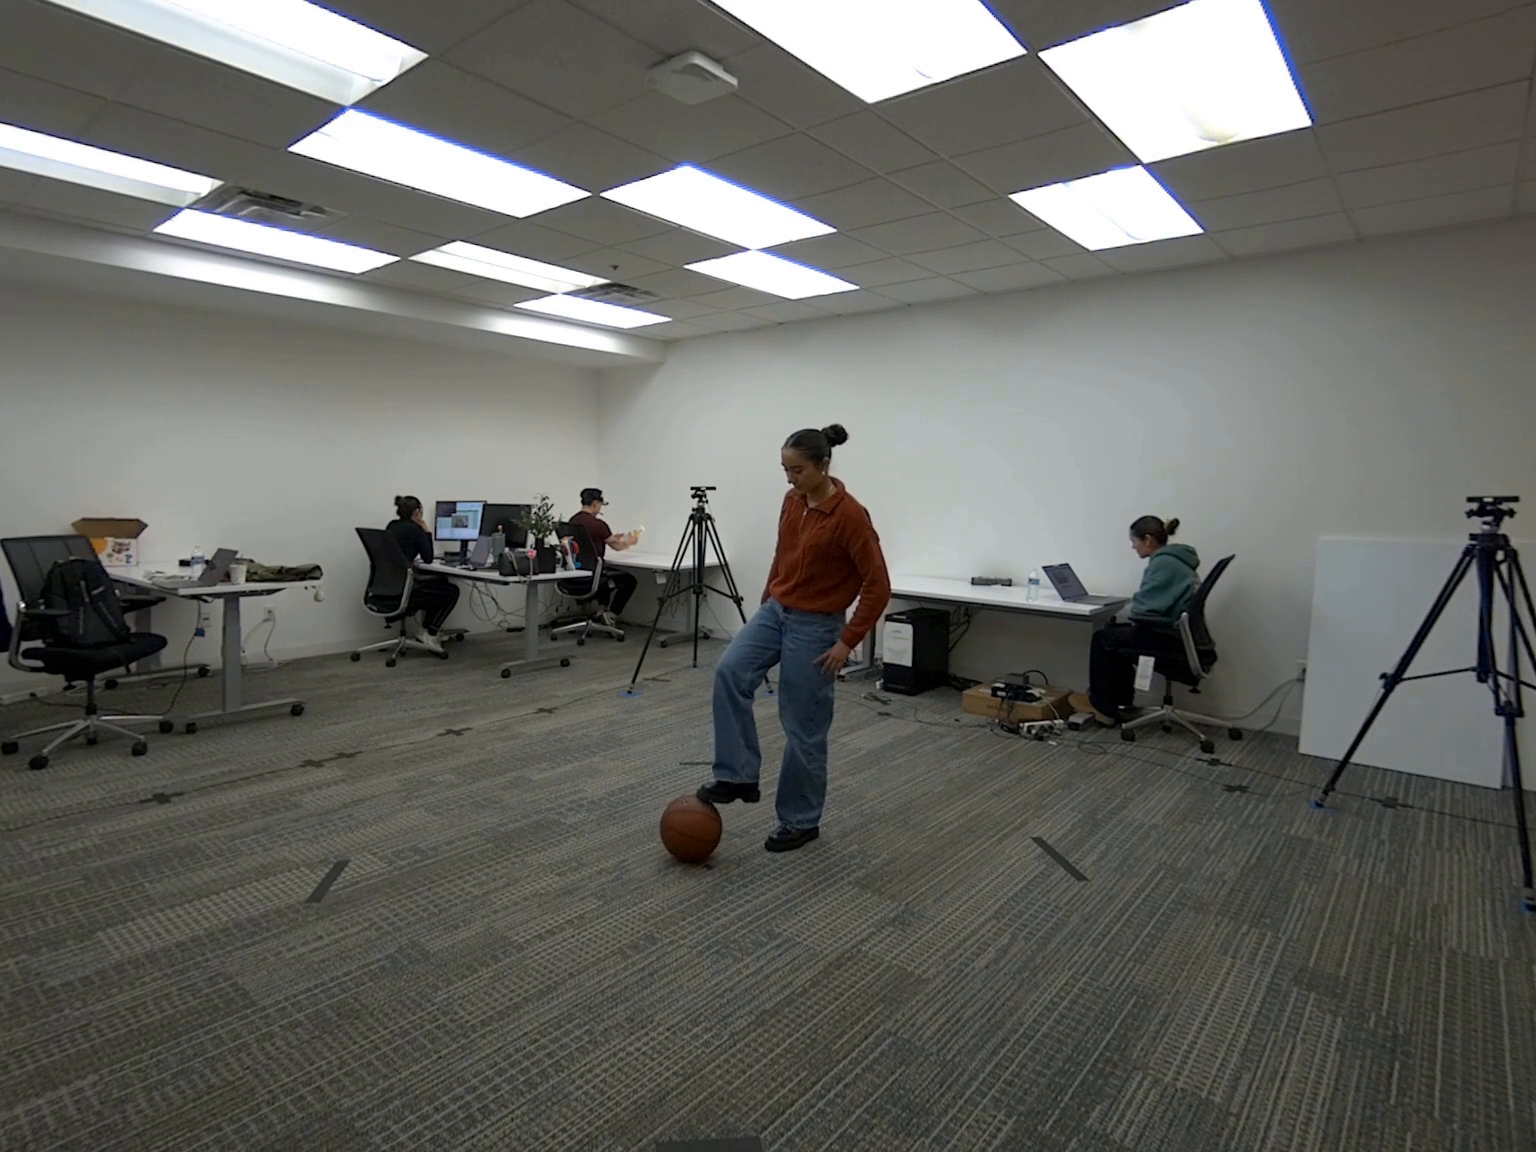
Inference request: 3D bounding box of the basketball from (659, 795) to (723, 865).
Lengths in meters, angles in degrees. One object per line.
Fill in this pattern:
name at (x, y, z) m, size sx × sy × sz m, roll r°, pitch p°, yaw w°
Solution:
basketball at (-0.307, 0.938, 3.189) m, size 0.235 × 0.235 × 0.237 m, roll 1°, pitch 4°, yaw -2°
